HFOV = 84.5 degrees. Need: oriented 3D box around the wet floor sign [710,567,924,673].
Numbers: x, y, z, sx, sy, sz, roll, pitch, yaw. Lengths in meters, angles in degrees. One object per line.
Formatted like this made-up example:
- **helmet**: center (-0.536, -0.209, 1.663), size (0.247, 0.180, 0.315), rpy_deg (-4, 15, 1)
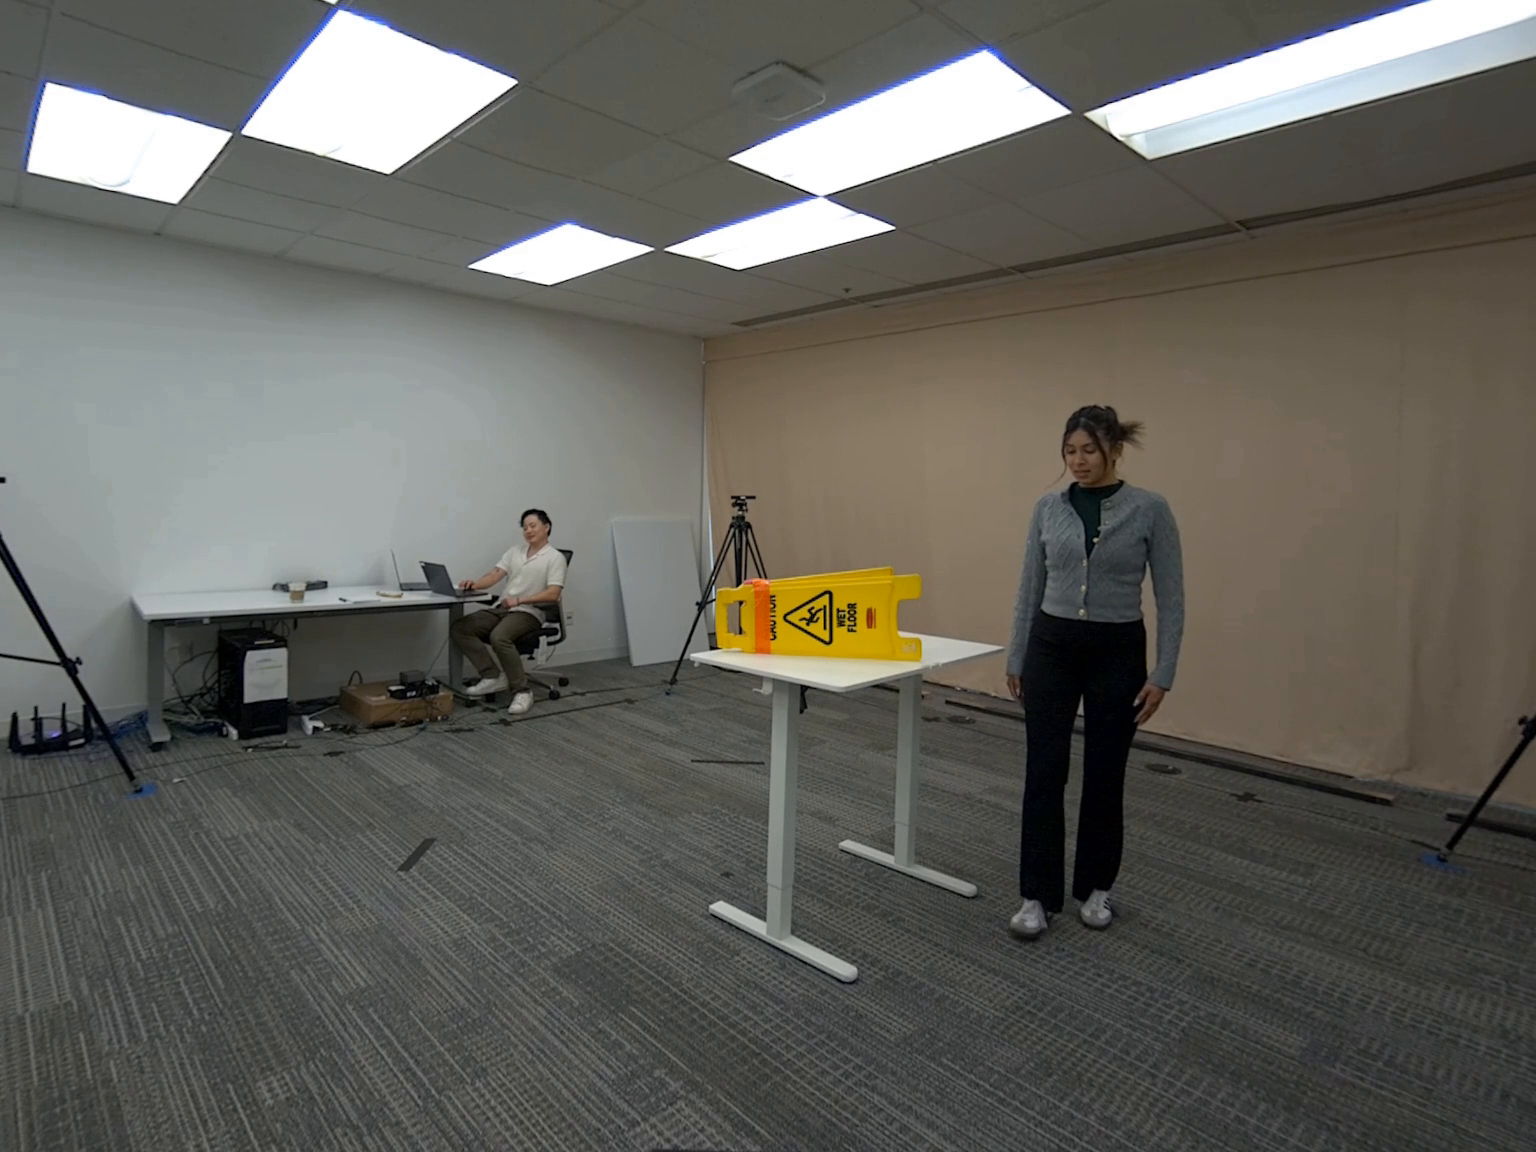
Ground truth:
- **wet floor sign**: center (0.149, 0.134, 2.796), size (0.642, 0.281, 0.292), rpy_deg (-2, 4, -8)
